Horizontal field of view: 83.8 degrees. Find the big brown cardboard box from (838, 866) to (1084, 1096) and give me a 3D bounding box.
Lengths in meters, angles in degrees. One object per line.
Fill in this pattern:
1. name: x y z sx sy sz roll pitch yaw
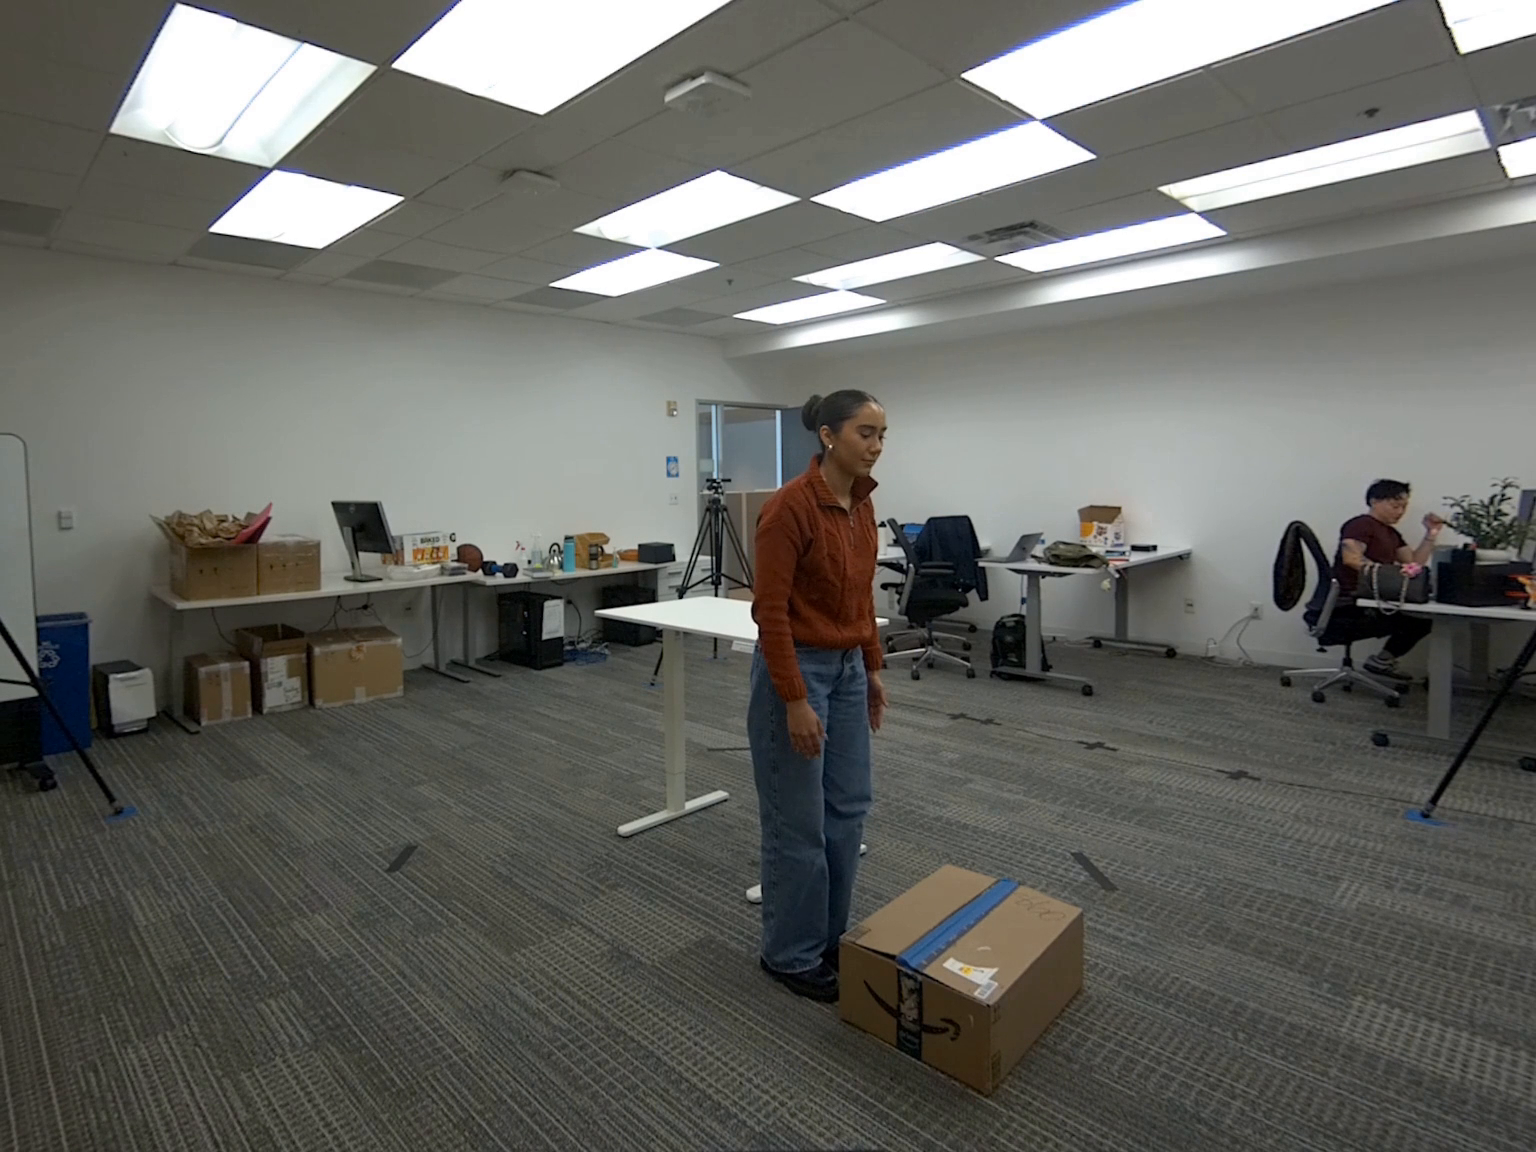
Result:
1. big brown cardboard box: 0.522 1.020 2.252 0.430 0.232 0.573 4 7 41
